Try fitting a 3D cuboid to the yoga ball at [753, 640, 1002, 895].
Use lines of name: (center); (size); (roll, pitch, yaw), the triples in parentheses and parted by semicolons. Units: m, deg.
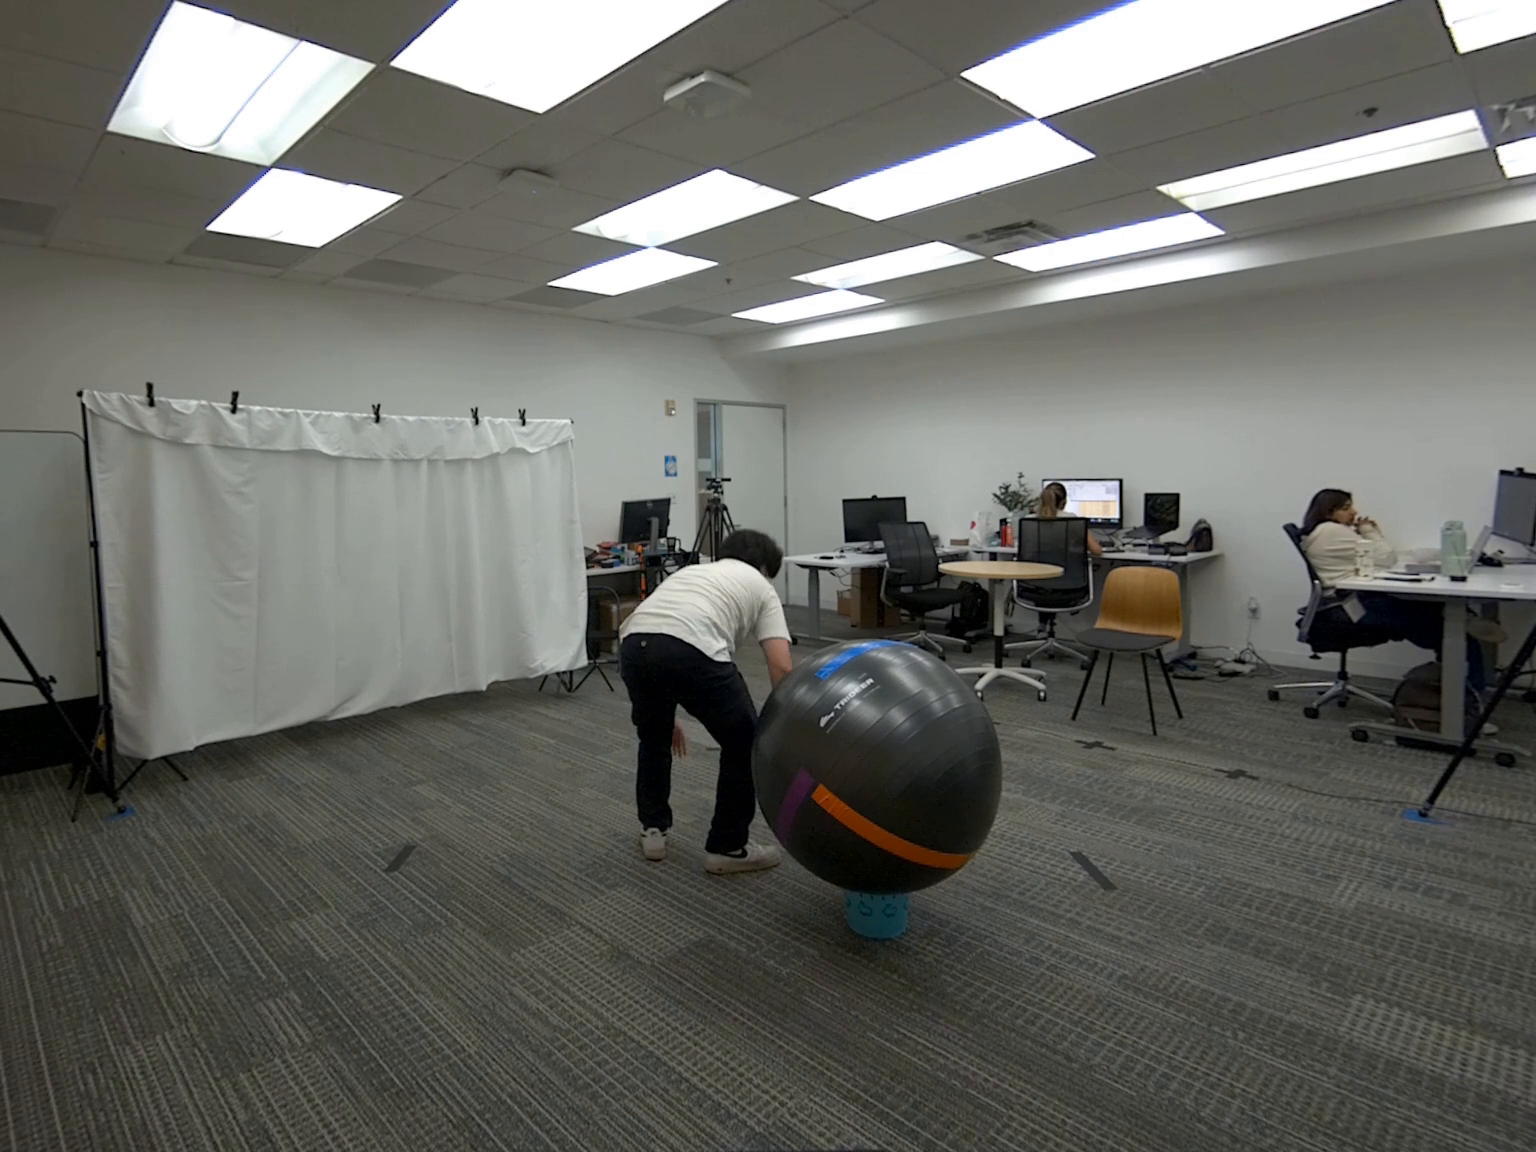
yoga ball: (0.328, 0.578, 2.641); (0.757, 0.755, 0.762); (-1, 5, -2)
